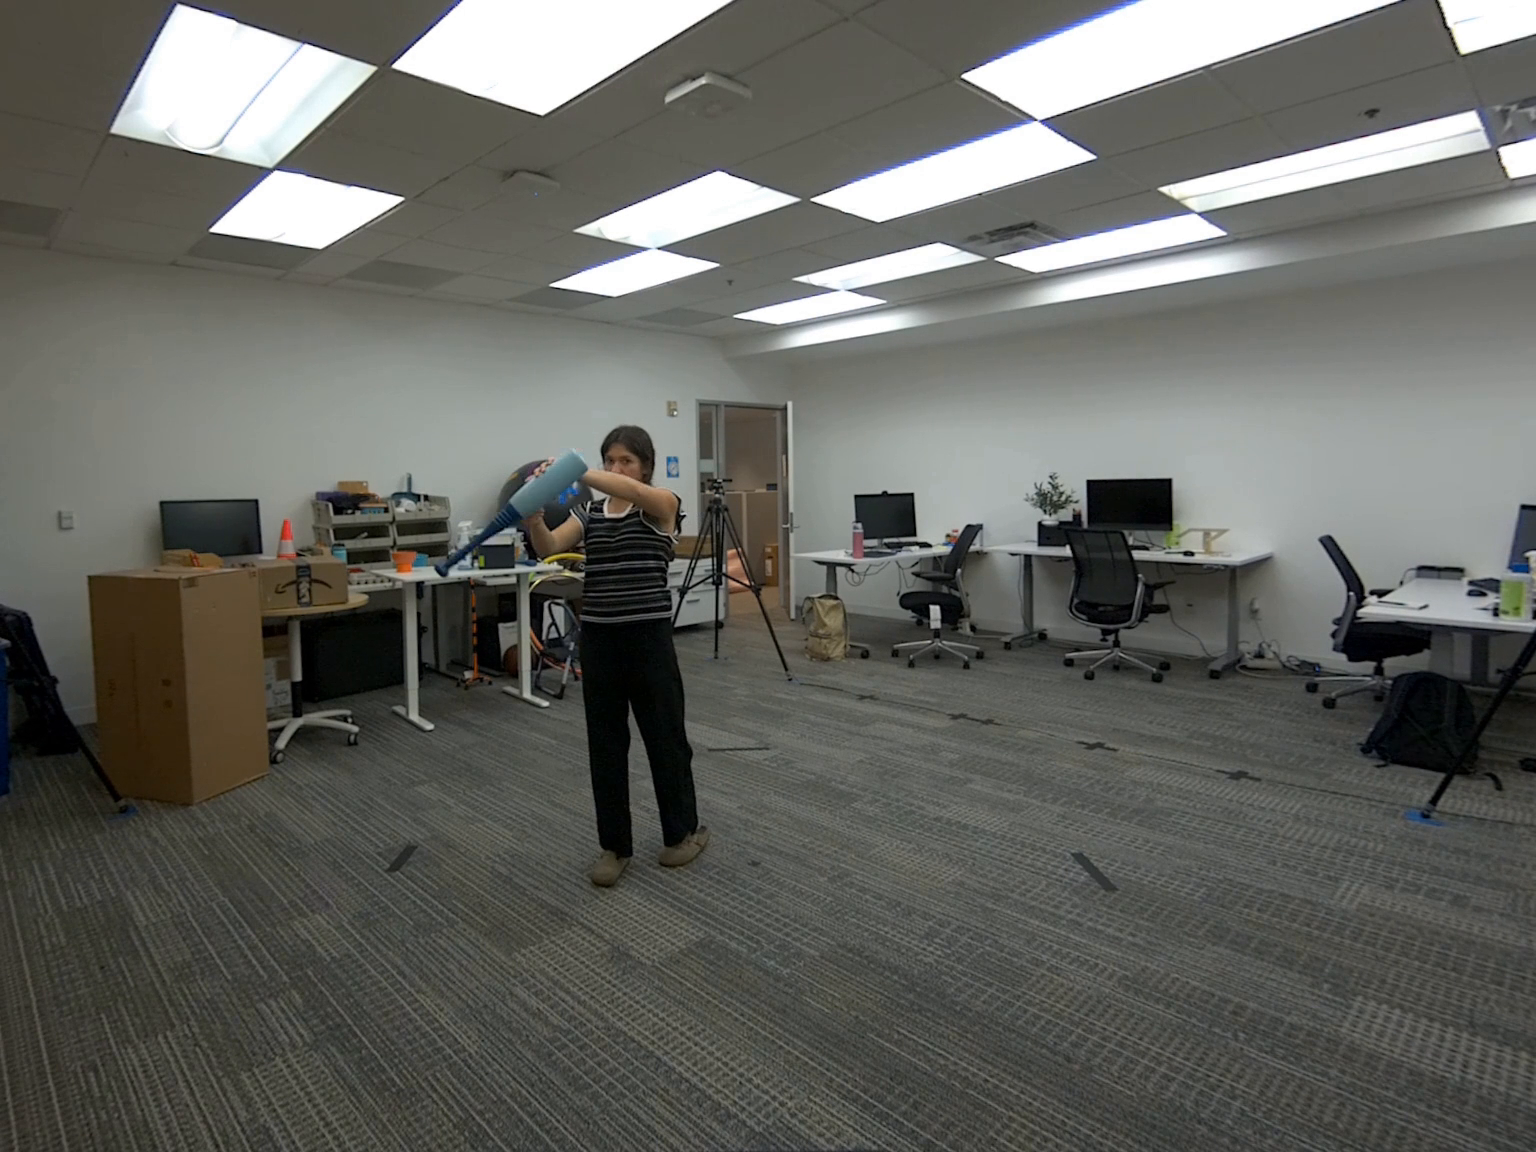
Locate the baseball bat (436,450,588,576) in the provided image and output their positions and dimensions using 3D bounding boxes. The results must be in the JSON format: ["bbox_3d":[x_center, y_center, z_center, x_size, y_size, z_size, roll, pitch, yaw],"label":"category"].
[{"bbox_3d":[-0.765,-0.178,2.546,0.543,0.088,0.090,-41,10,-4],"label":"baseball bat"}]
